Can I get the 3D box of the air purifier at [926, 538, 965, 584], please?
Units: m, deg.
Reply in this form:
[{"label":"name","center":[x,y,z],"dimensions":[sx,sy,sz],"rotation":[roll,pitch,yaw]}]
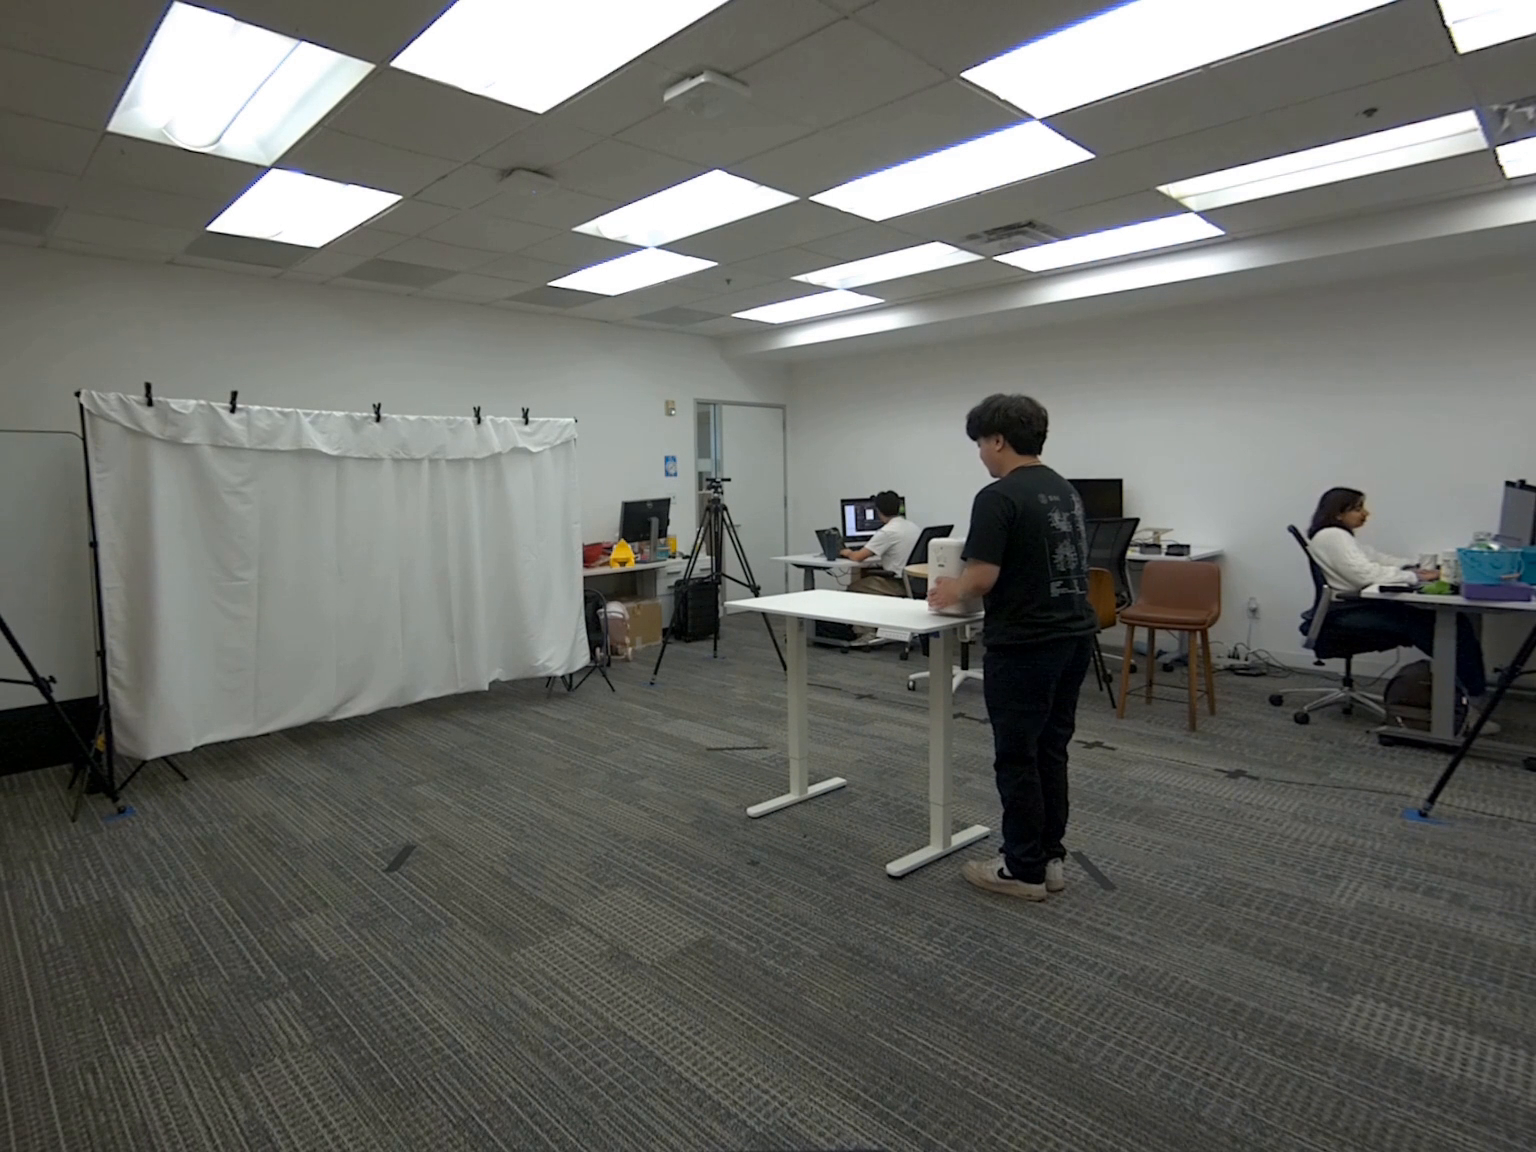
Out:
[{"label":"air purifier","center":[0.698,-0.008,3.119],"dimensions":[0.167,0.265,0.176],"rotation":[-3,3,-39]}]
